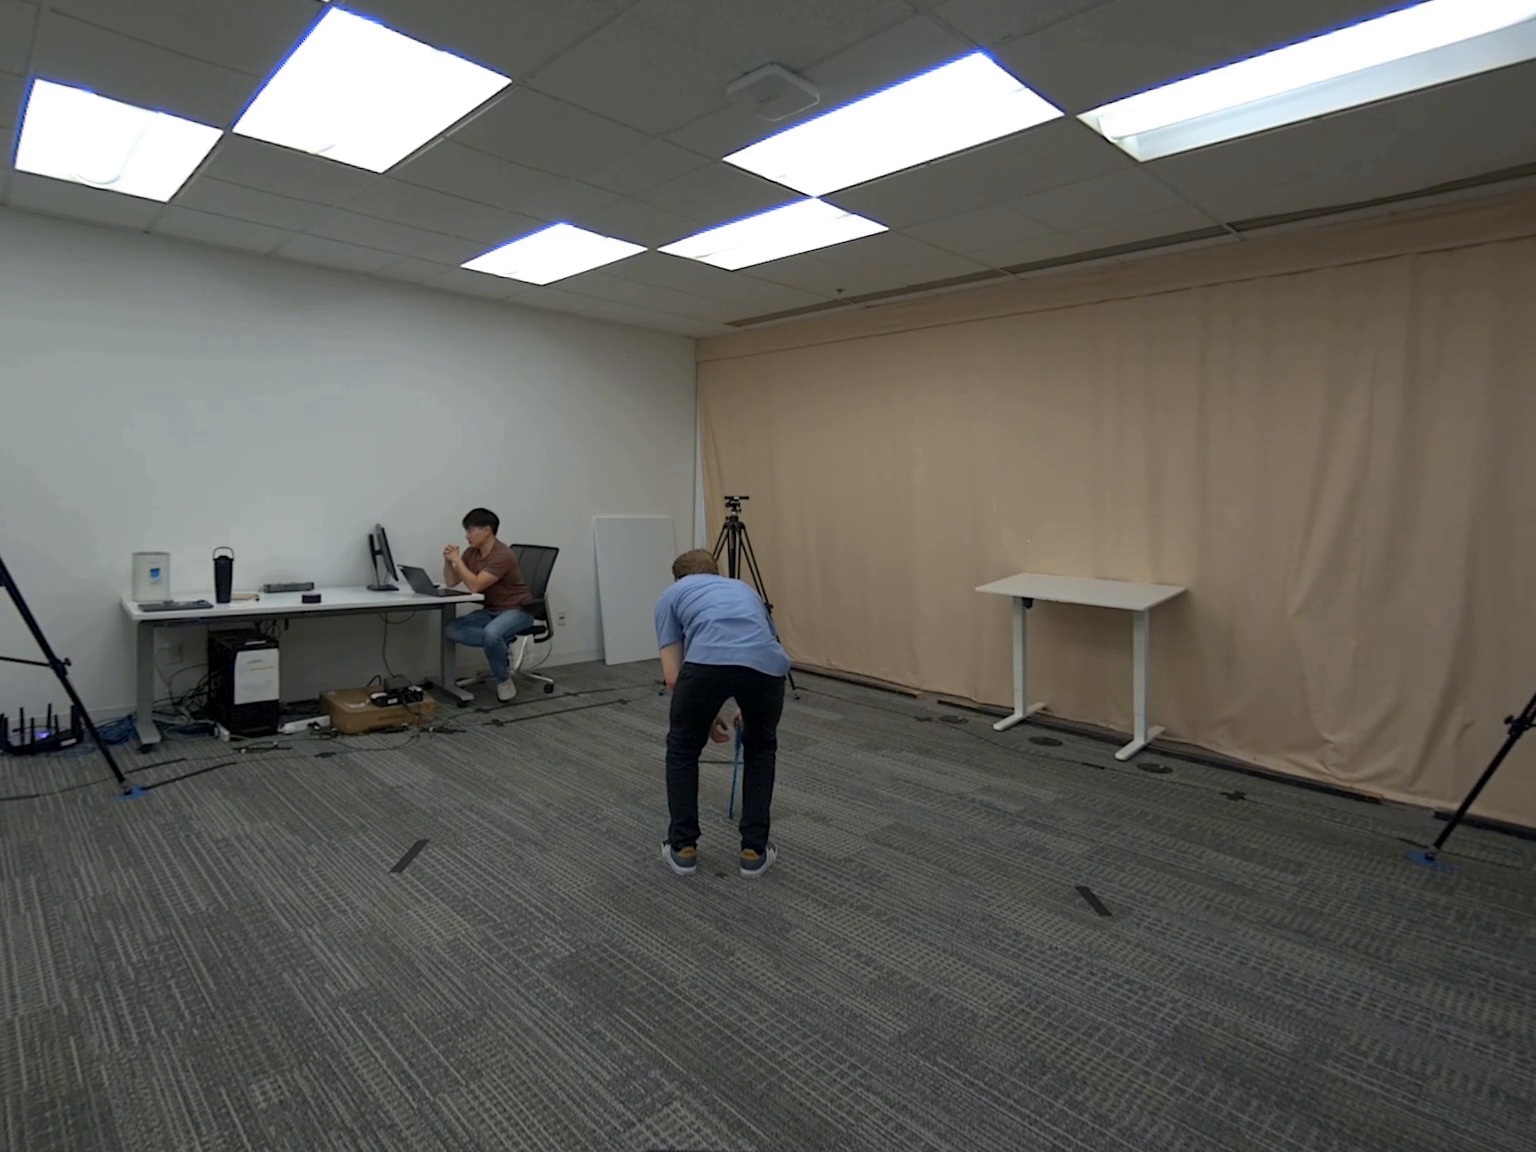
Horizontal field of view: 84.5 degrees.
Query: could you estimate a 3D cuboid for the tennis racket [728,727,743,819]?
[{"bbox_3d":[-0.149,0.838,3.649,0.032,0.431,0.215,6,7,-3],"label":"tennis racket"}]
